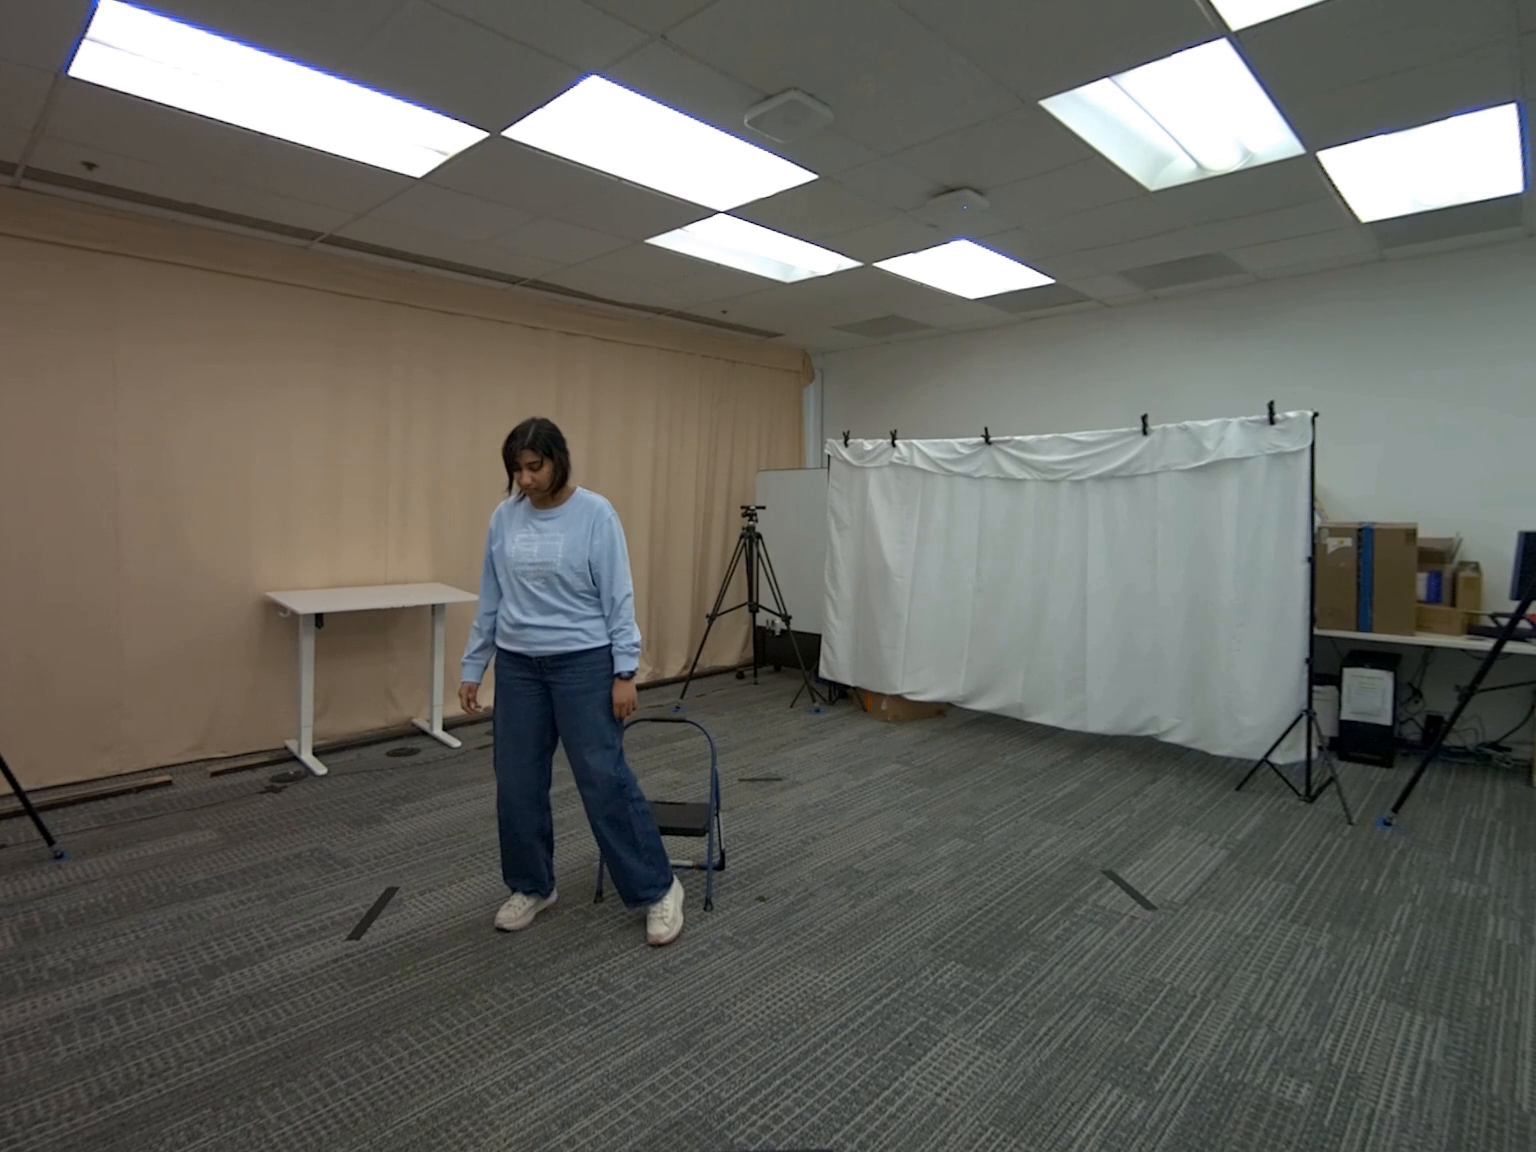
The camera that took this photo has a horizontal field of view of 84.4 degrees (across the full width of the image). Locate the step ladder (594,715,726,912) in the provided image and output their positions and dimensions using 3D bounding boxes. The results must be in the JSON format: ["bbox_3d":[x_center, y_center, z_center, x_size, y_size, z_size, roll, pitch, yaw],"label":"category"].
[{"bbox_3d":[-0.387,0.835,3.093,0.435,0.605,0.346,0,3,9],"label":"step ladder"}]
